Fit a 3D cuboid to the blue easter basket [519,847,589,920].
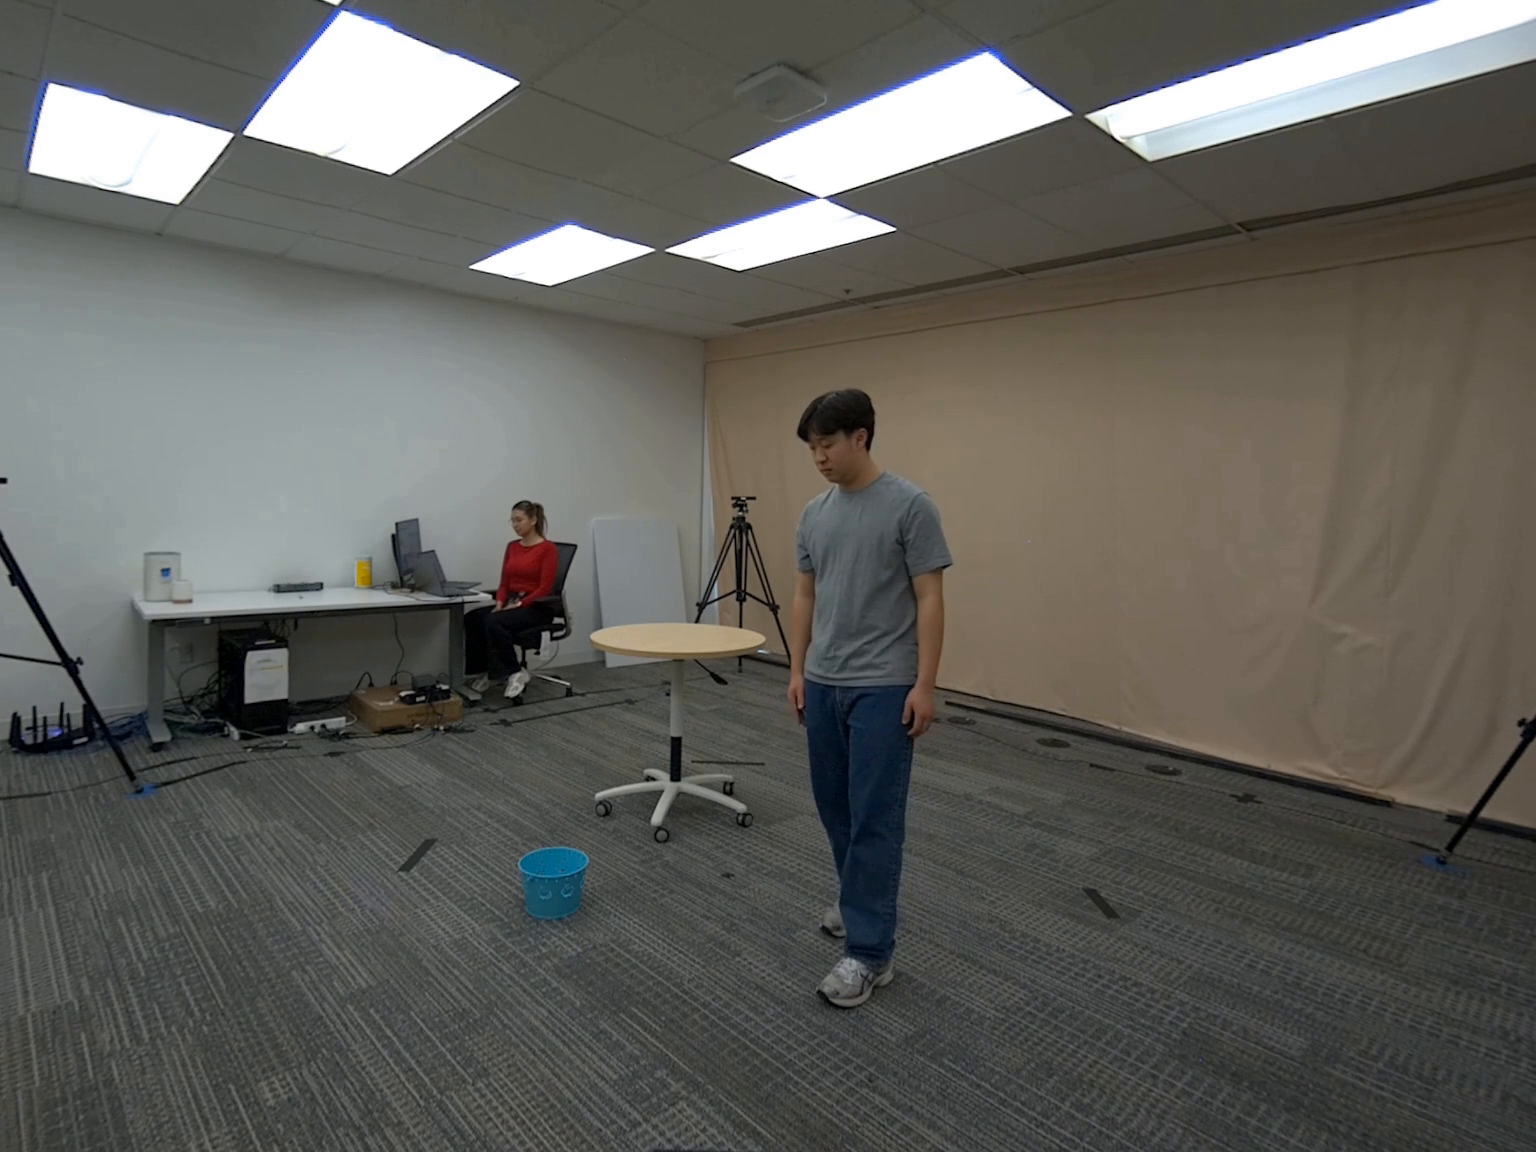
[{"bbox_3d":[-0.734,1.038,2.850,0.243,0.155,0.244,2,5,-2],"label":"blue easter basket"}]
